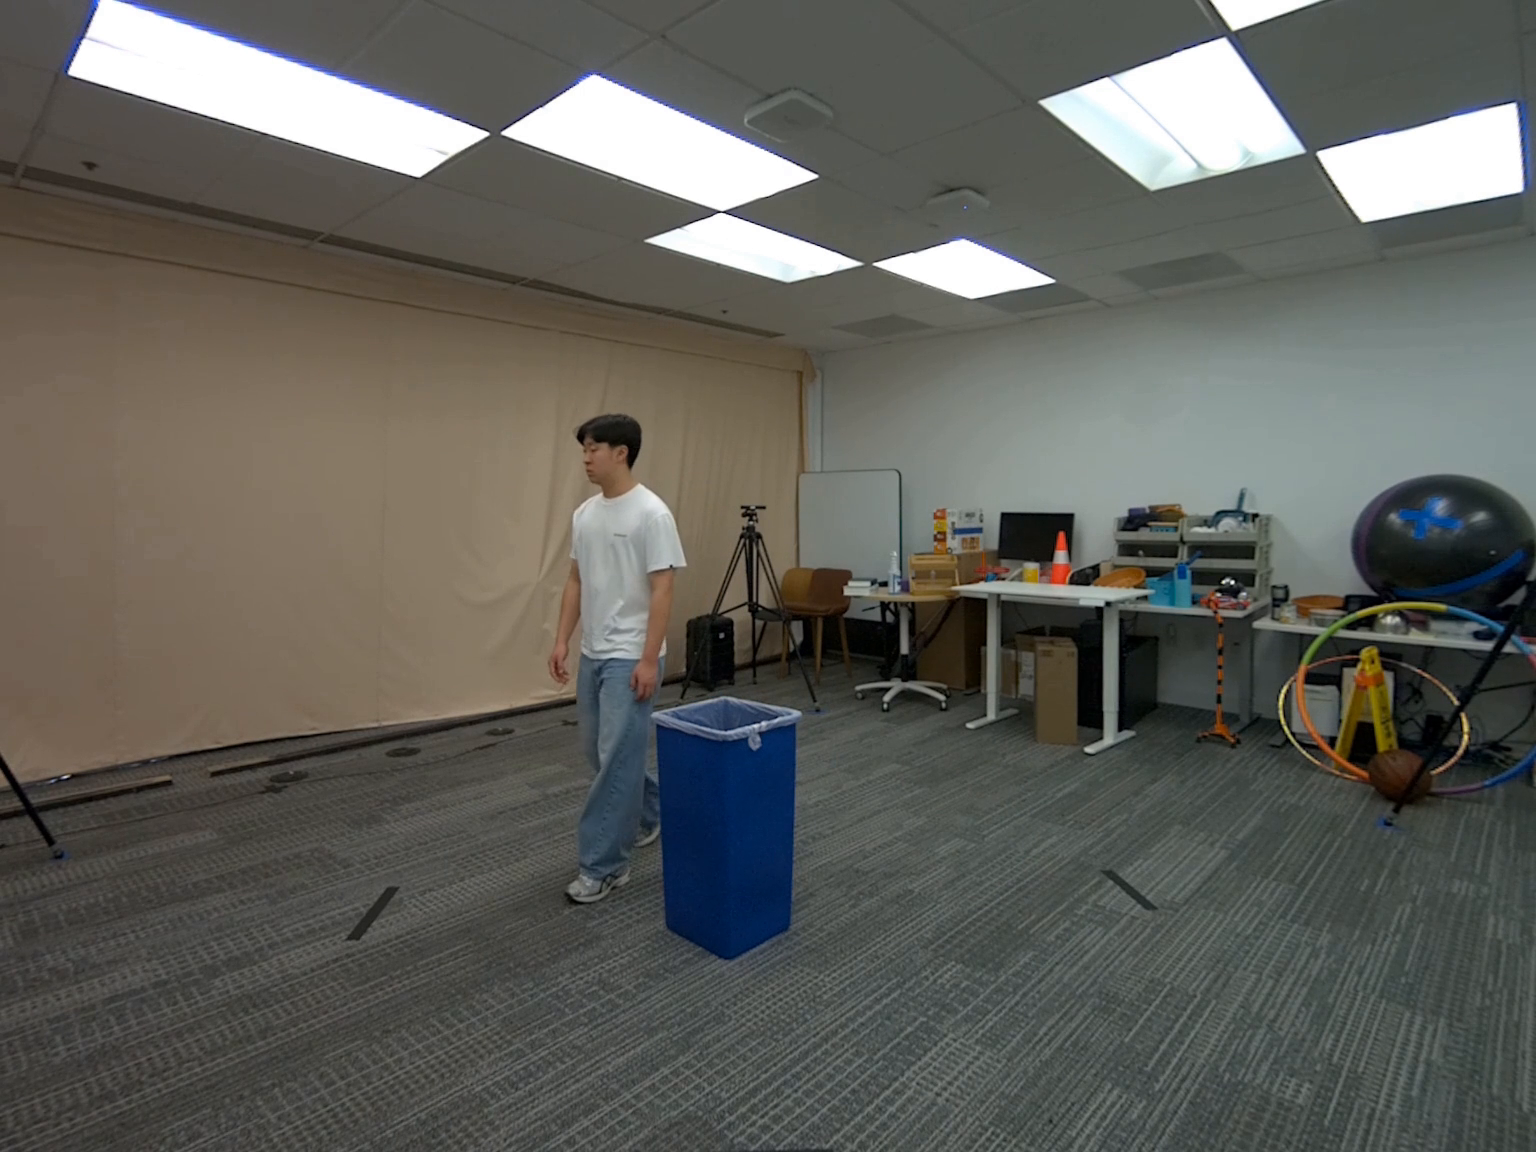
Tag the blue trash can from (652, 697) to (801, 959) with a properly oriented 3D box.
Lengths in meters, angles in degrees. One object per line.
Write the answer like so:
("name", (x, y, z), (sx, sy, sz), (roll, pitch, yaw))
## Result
("blue trash can", (-0.137, 0.805, 2.767), (0.386, 0.712, 0.366), (3, 4, 44))
